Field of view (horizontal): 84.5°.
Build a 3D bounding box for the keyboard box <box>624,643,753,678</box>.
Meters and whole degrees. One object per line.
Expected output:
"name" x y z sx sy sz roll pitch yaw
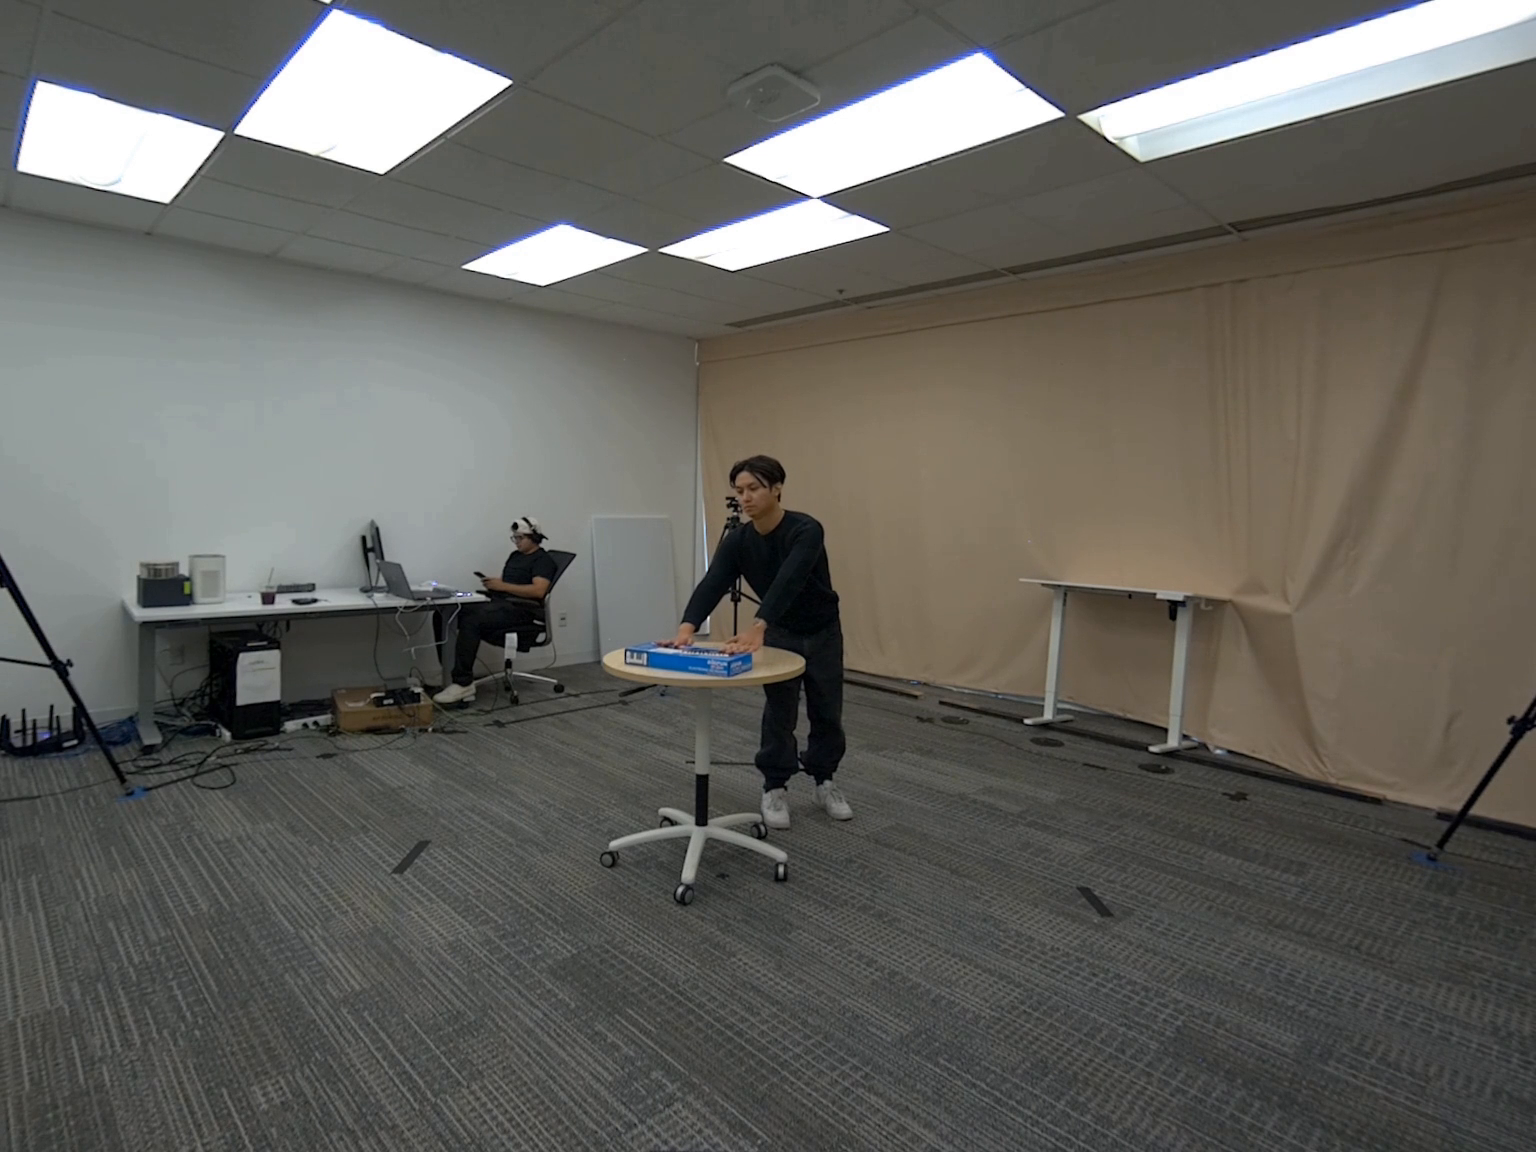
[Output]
"keyboard box" -0.297 0.299 3.027 0.446 0.059 0.173 3 5 28
